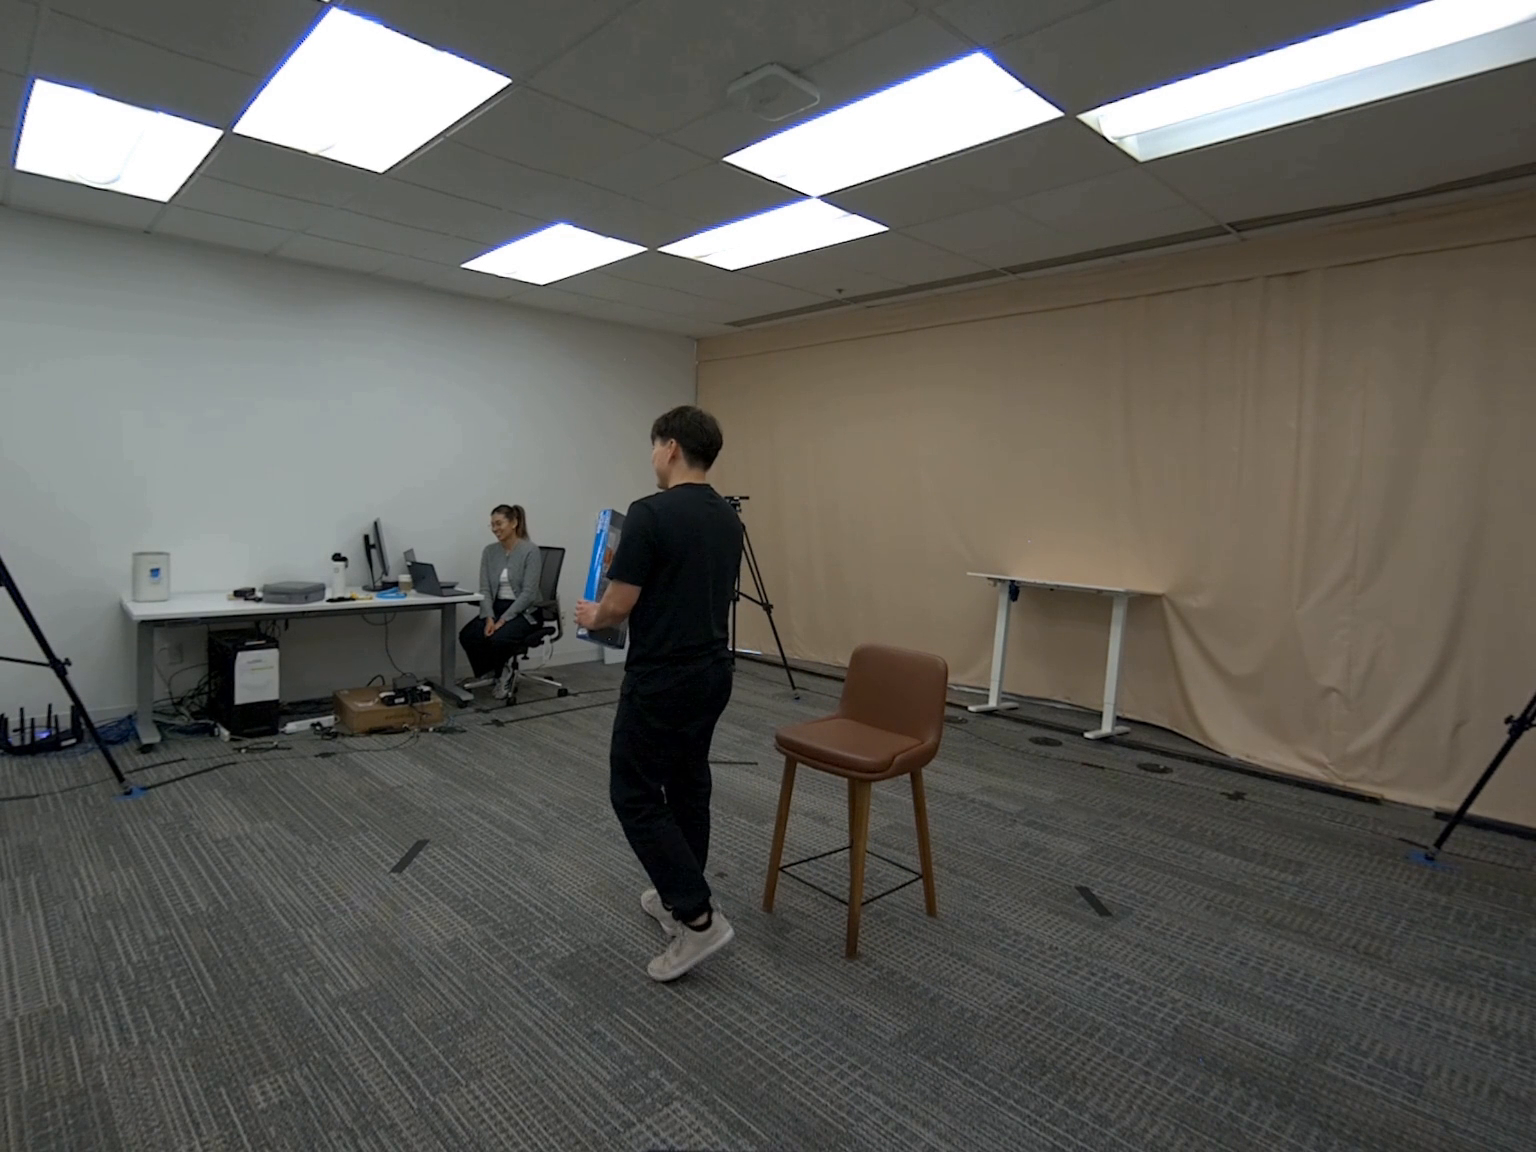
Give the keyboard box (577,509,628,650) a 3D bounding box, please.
[{"bbox_3d":[-0.519,0.016,2.805,0.060,0.441,0.170,-4,-20,36],"label":"keyboard box"}]
